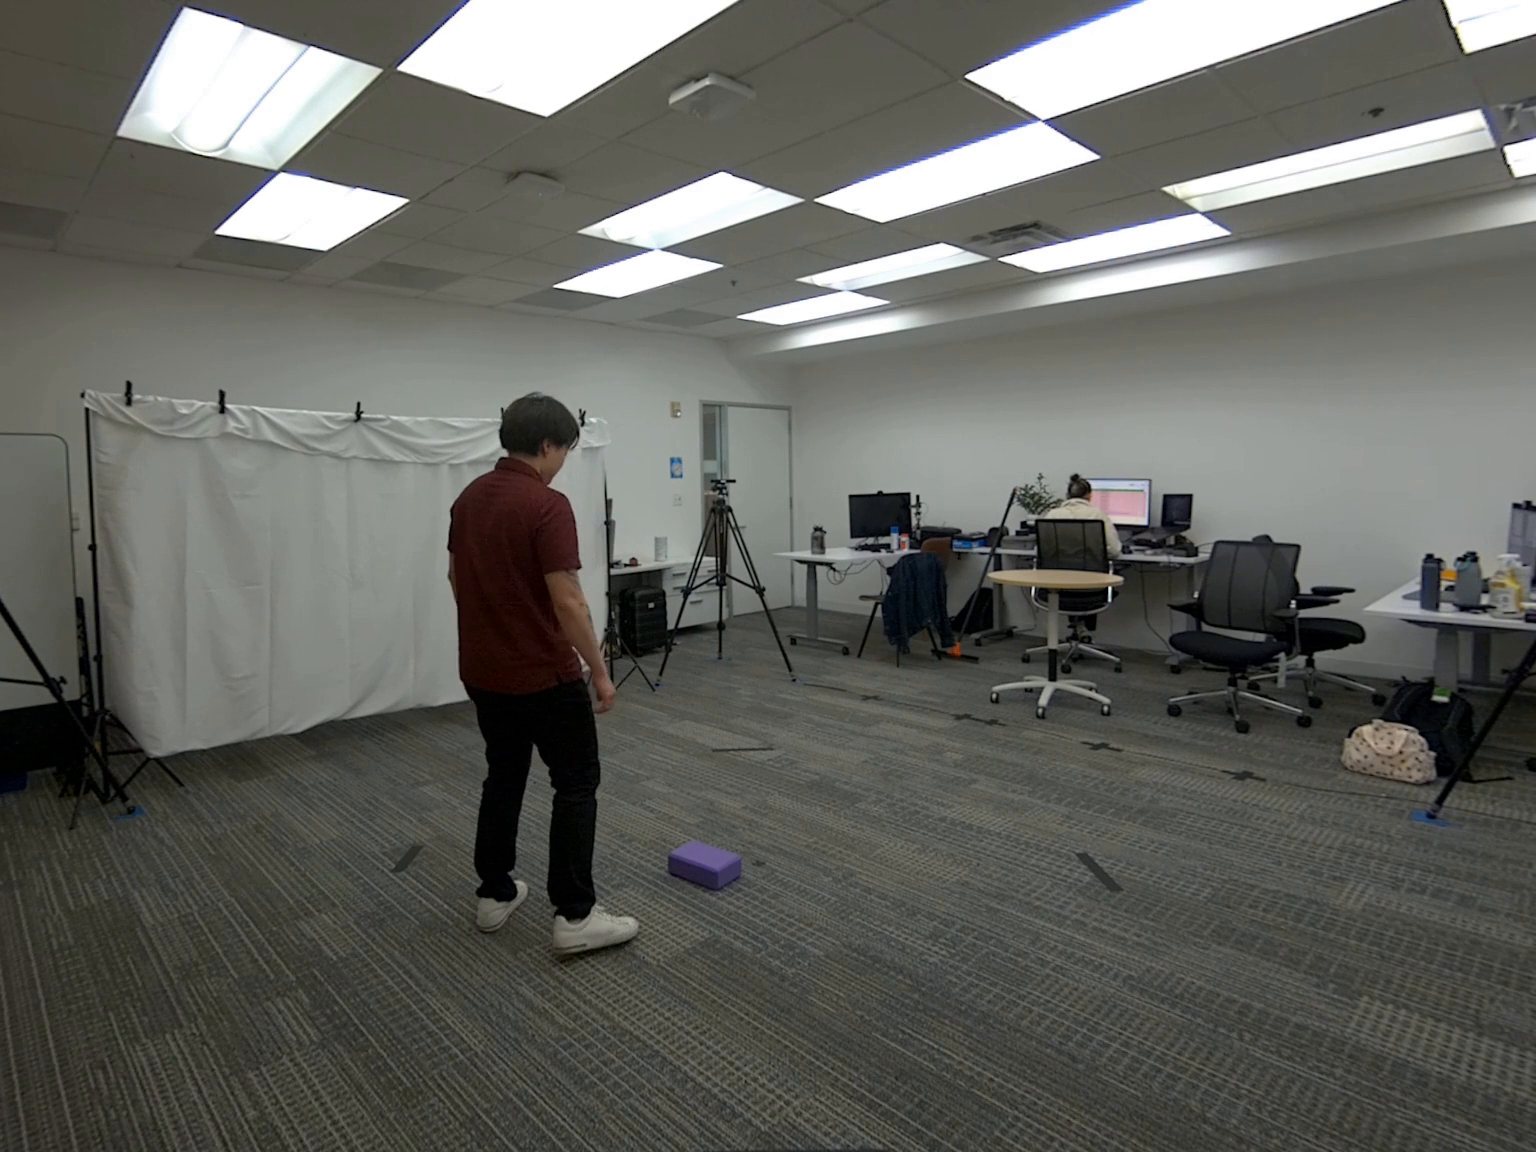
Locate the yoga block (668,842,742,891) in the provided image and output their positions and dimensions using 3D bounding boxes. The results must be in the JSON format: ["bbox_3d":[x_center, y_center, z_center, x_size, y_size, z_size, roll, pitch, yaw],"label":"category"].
[{"bbox_3d":[-0.223,1.020,3.023,0.236,0.076,0.145,4,7,36],"label":"yoga block"}]
